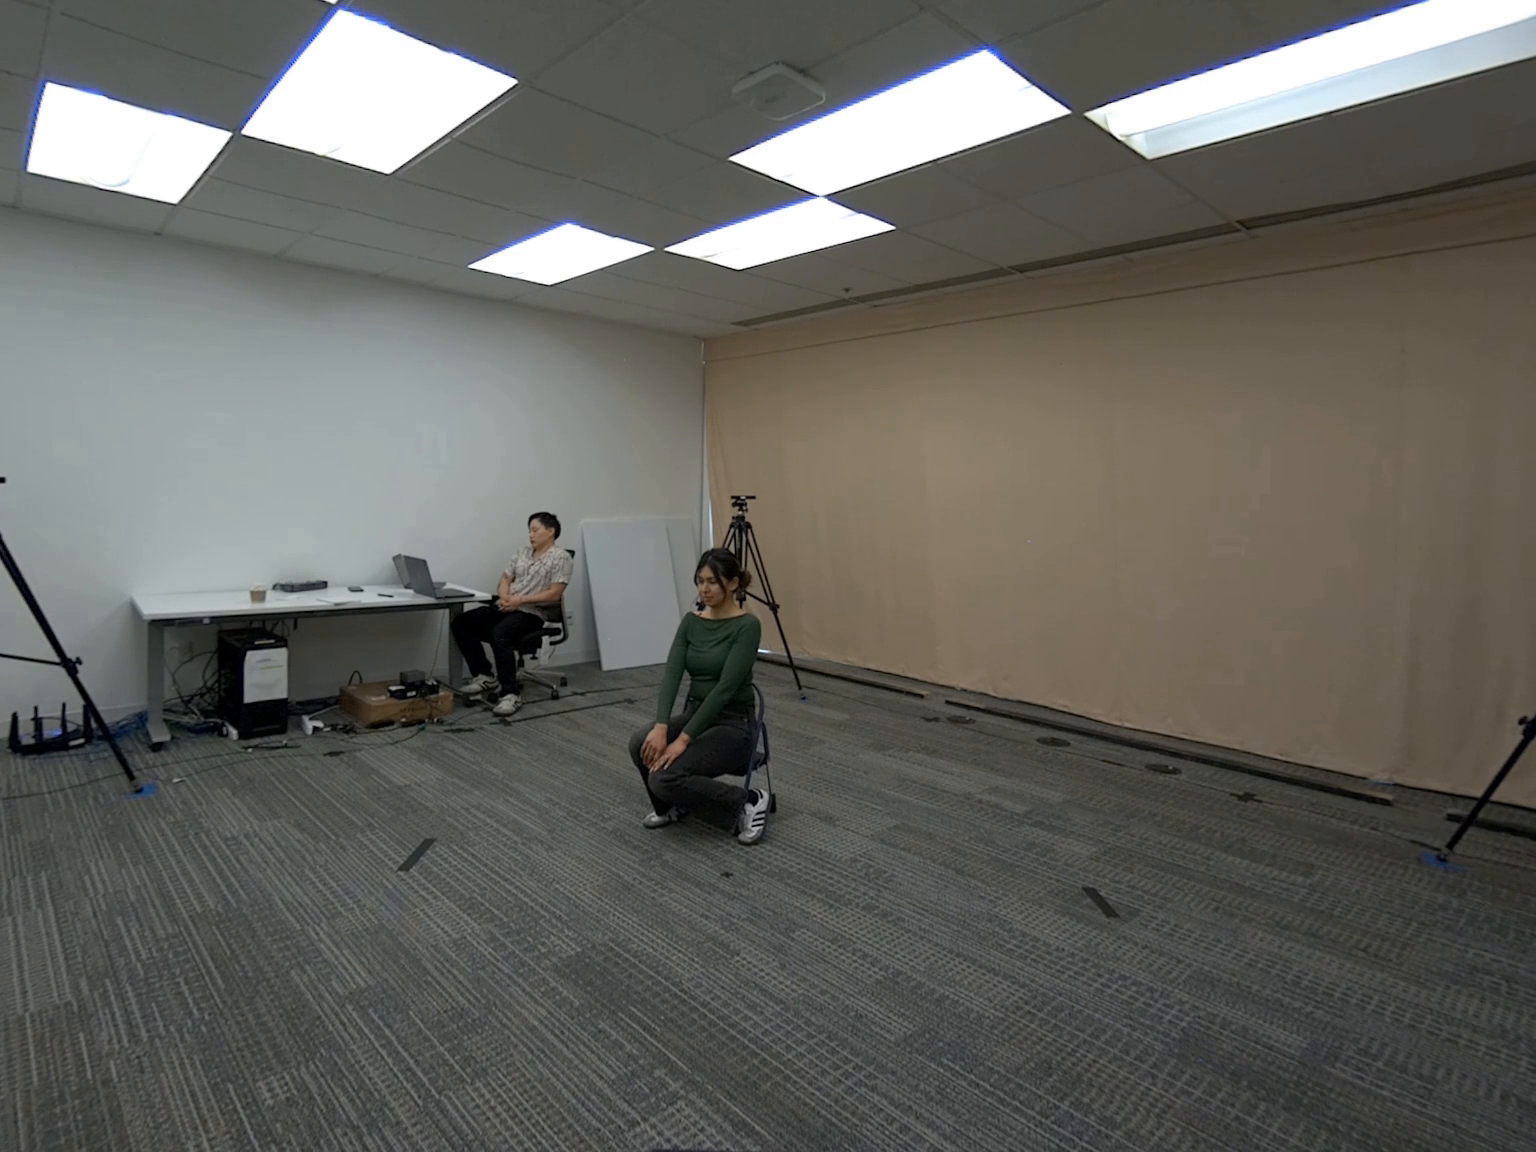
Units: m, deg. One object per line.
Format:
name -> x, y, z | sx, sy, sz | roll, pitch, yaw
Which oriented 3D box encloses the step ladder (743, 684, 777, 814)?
step ladder -> -0.218, 0.754, 3.702 | 0.440, 0.605, 0.342 | 4, 3, 31
